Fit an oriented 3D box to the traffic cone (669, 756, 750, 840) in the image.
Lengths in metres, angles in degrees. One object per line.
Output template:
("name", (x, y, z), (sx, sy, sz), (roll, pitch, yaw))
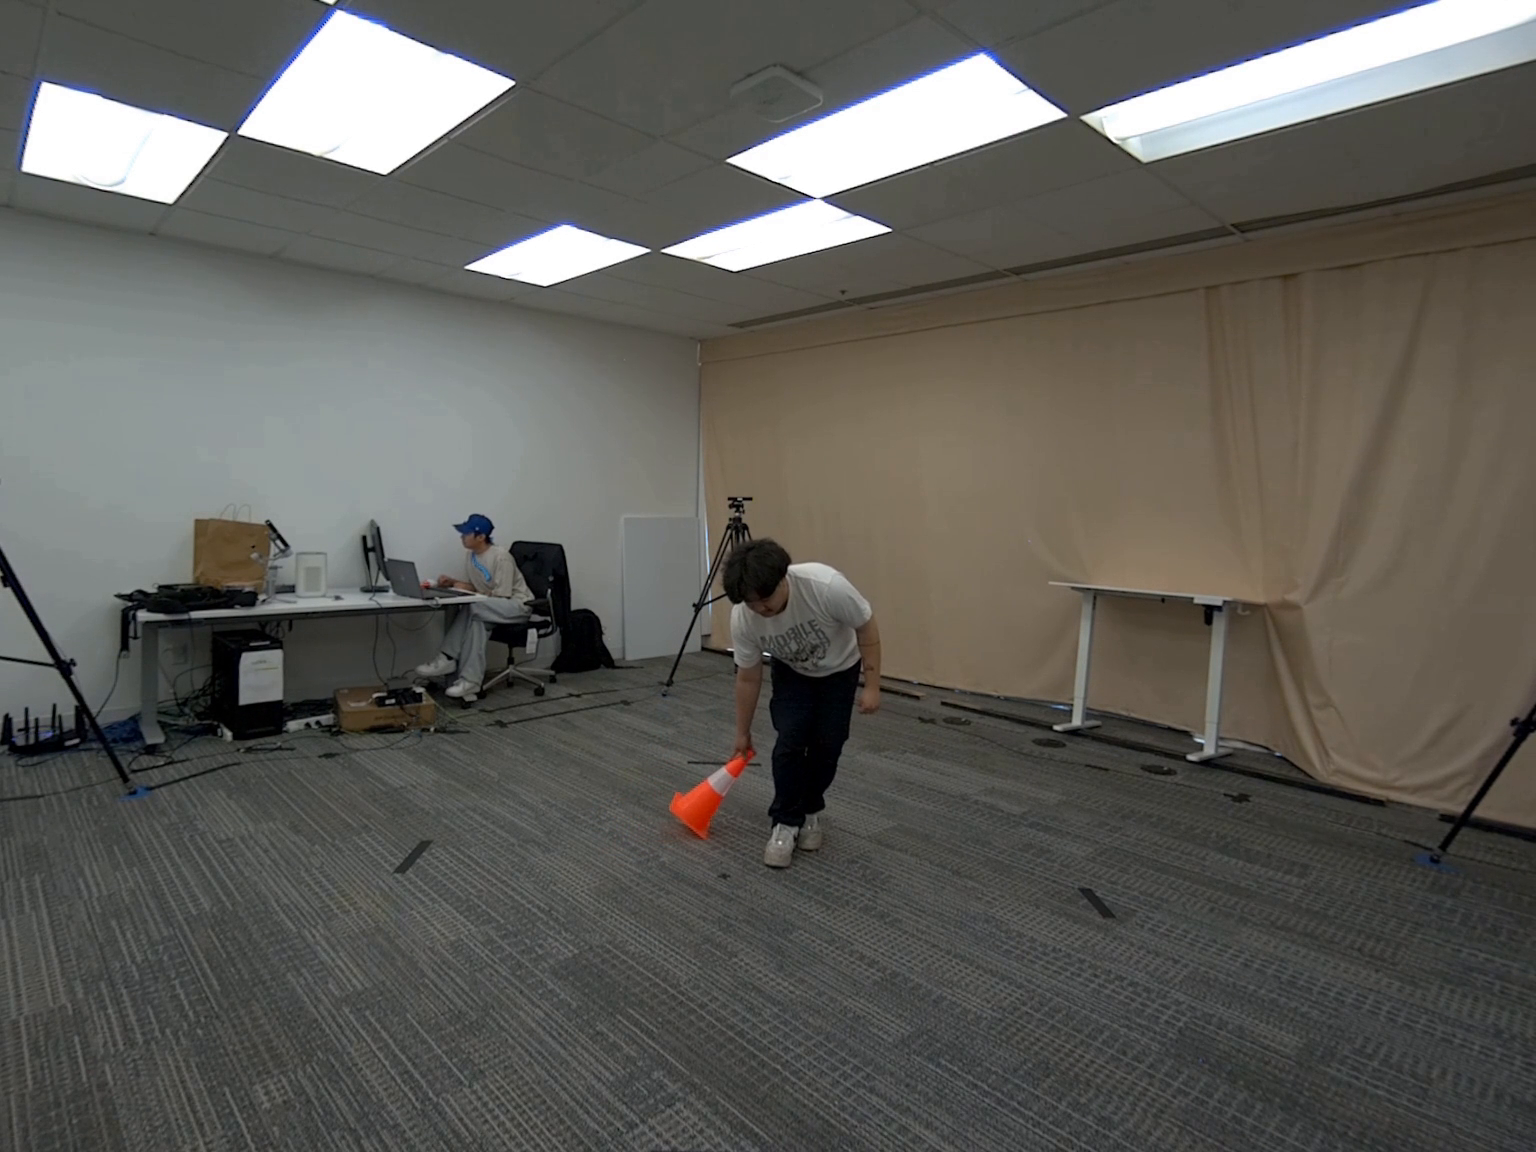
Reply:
("traffic cone", (-0.203, 0.859, 3.499), (0.205, 0.383, 0.203), (43, 8, 8))
